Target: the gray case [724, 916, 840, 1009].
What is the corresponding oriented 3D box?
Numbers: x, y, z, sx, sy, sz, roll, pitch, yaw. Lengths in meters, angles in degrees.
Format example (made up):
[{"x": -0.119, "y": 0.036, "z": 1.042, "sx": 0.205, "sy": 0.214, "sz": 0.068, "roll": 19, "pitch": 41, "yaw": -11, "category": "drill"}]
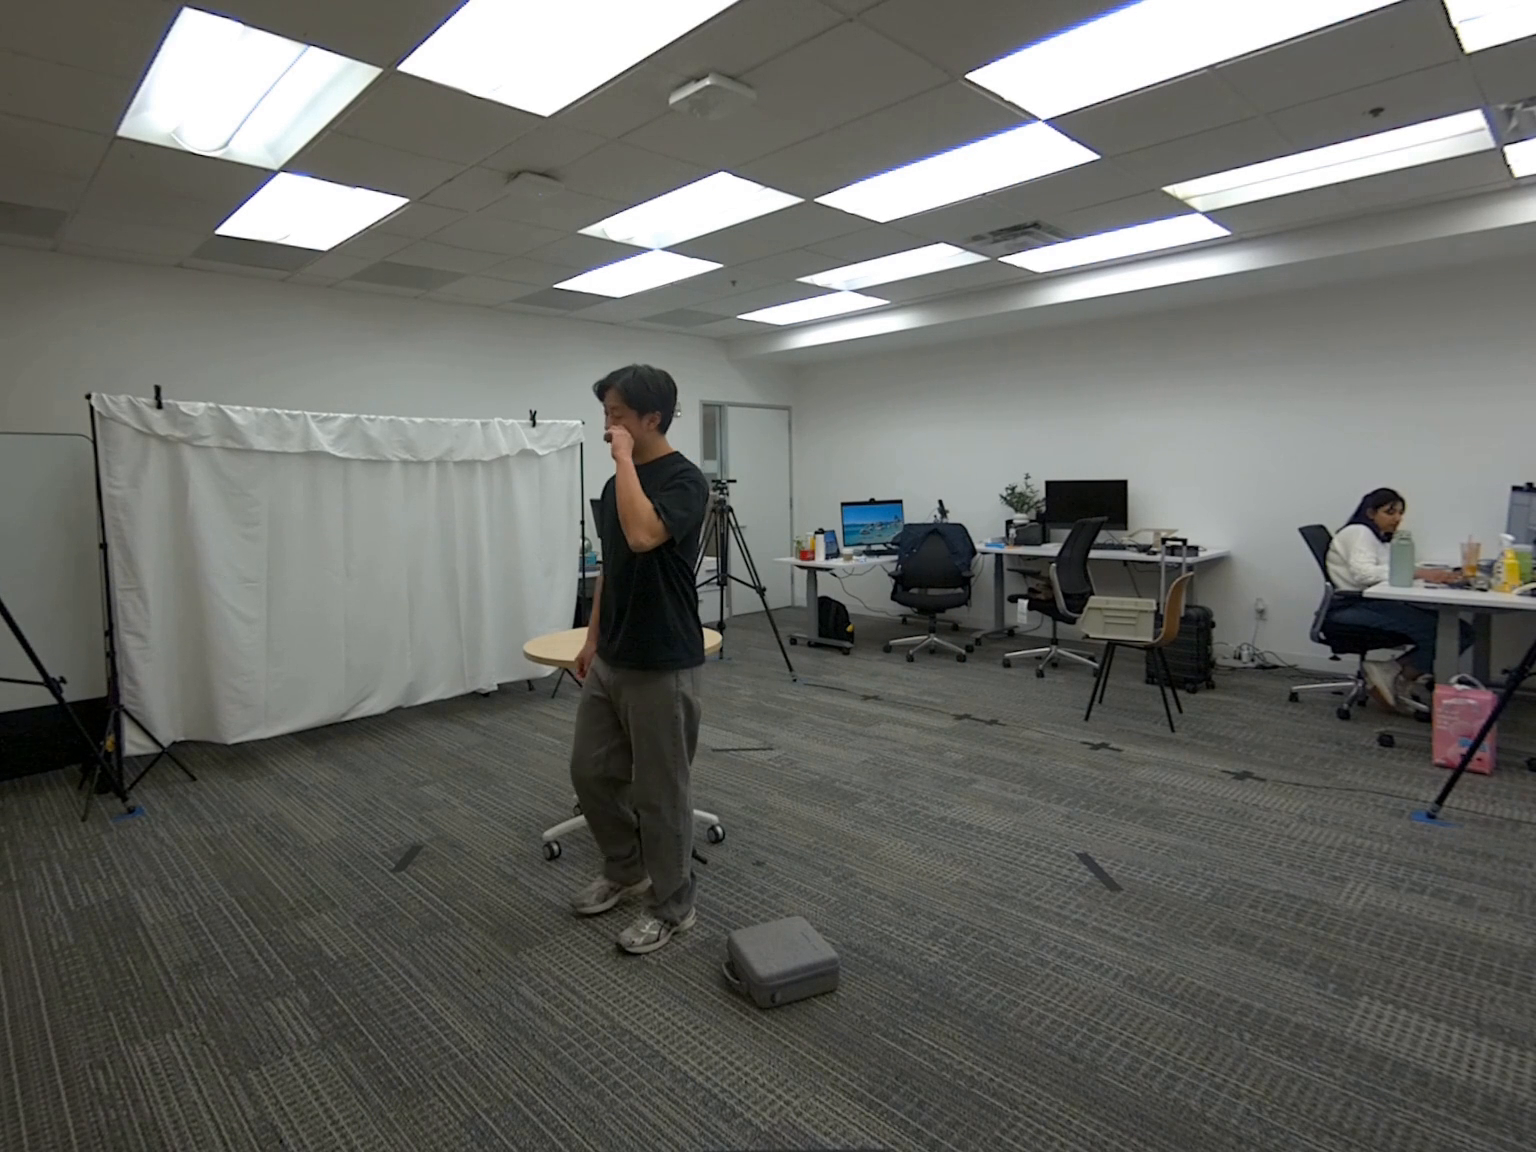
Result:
[{"x": 0.035, "y": 1.076, "z": 2.389, "sx": 0.282, "sy": 0.102, "sz": 0.269, "roll": -5, "pitch": 7, "yaw": -21, "category": "gray case"}]
